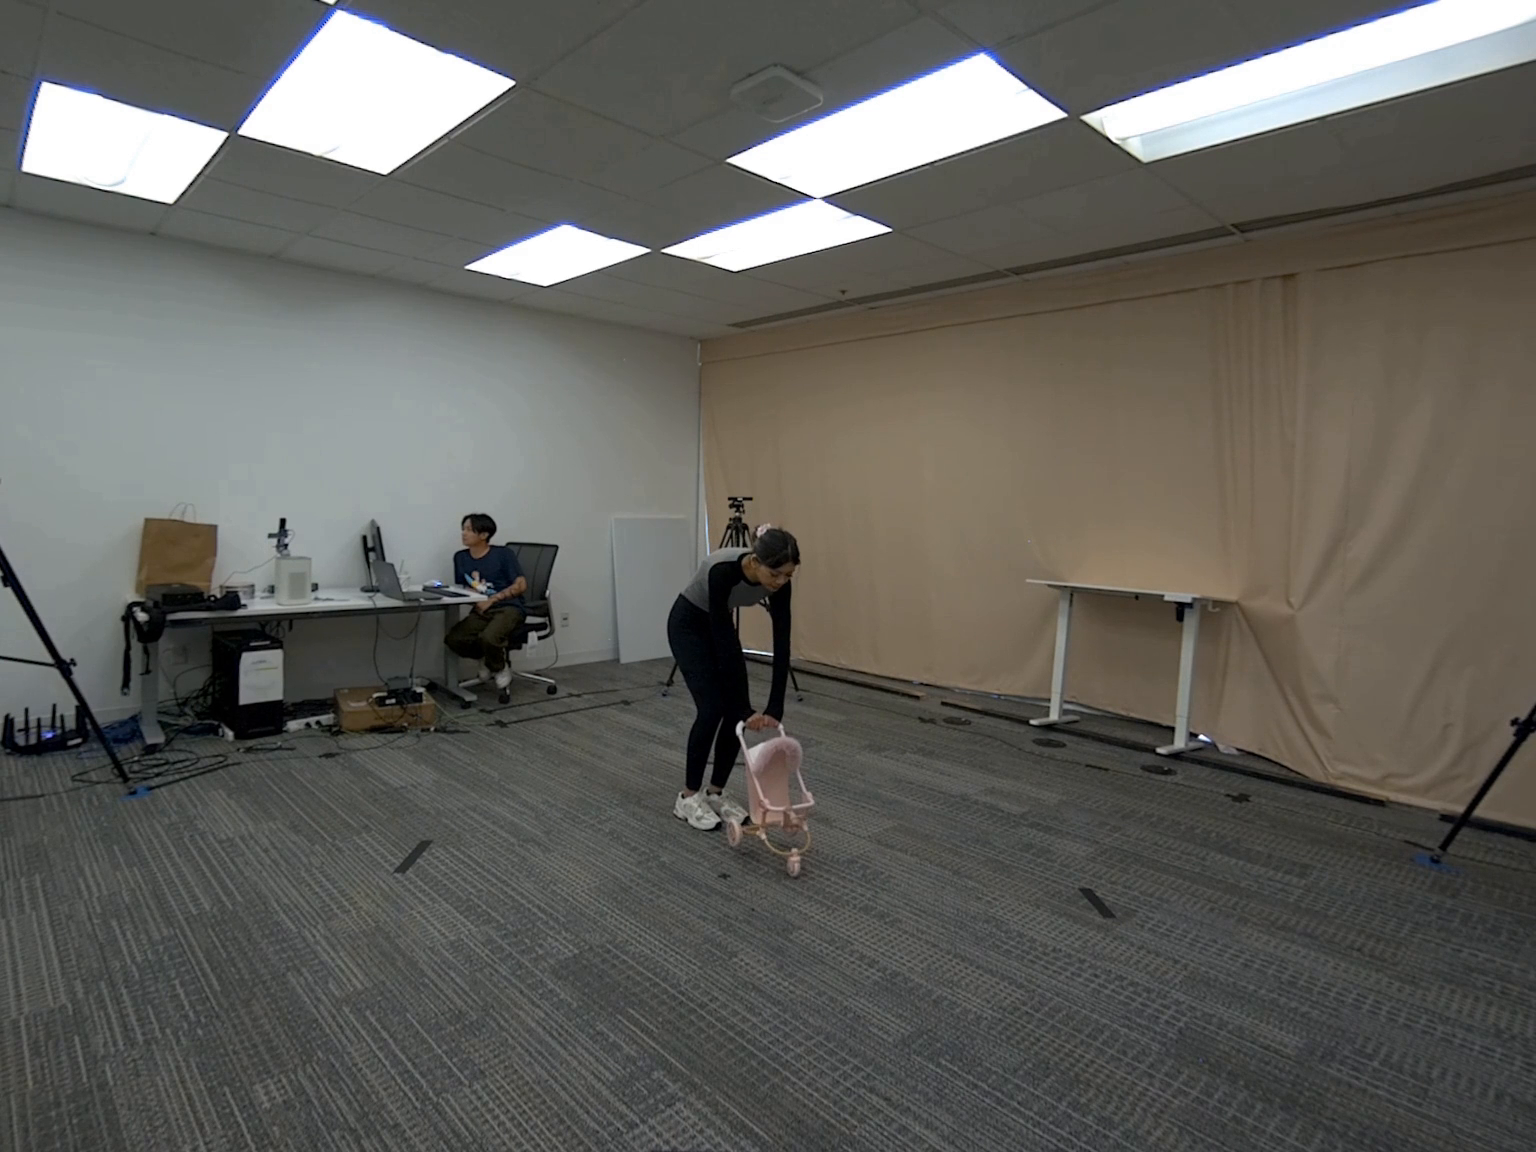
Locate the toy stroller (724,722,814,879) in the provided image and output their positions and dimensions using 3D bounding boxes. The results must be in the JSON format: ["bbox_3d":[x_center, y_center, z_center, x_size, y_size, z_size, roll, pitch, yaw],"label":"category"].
[{"bbox_3d":[0.021,0.834,3.230,0.276,0.536,0.347,1,-3,-25],"label":"toy stroller"}]
